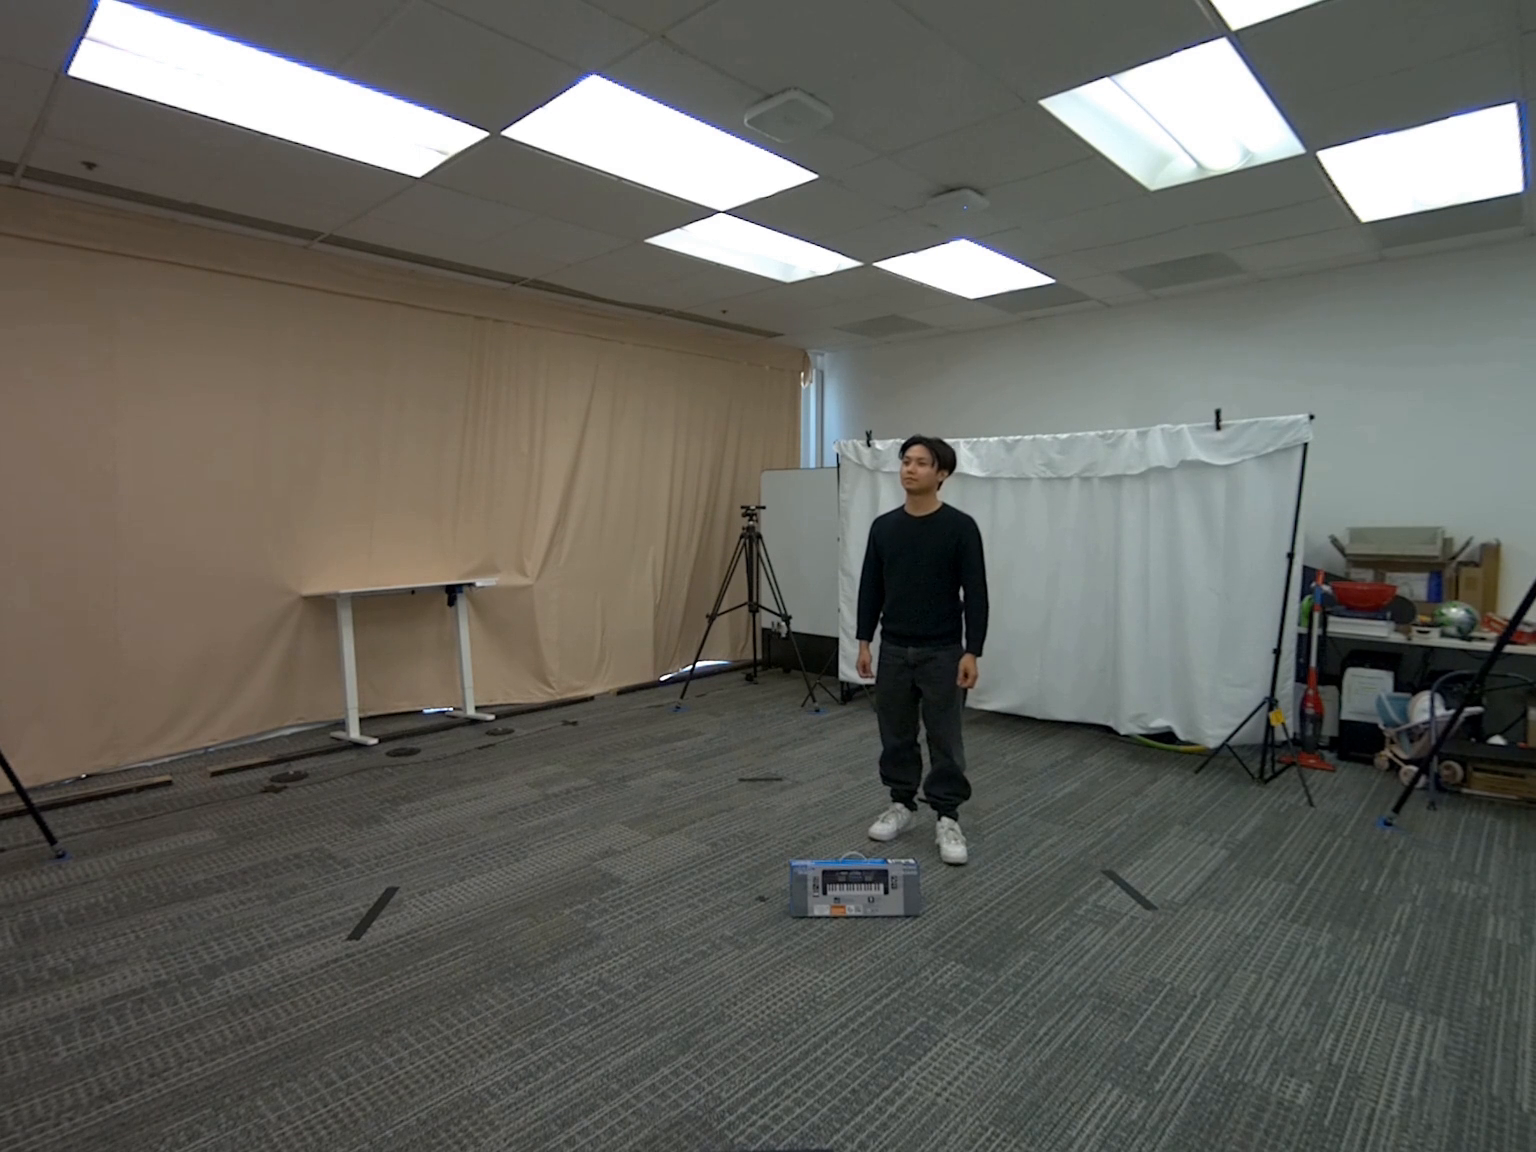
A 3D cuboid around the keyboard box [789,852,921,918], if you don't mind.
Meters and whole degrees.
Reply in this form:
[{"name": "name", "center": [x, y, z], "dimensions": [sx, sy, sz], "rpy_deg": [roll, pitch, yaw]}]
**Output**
[{"name": "keyboard box", "center": [0.299, 1.064, 2.870], "dimensions": [0.437, 0.176, 0.059], "rpy_deg": [-1, -3, 0]}]
